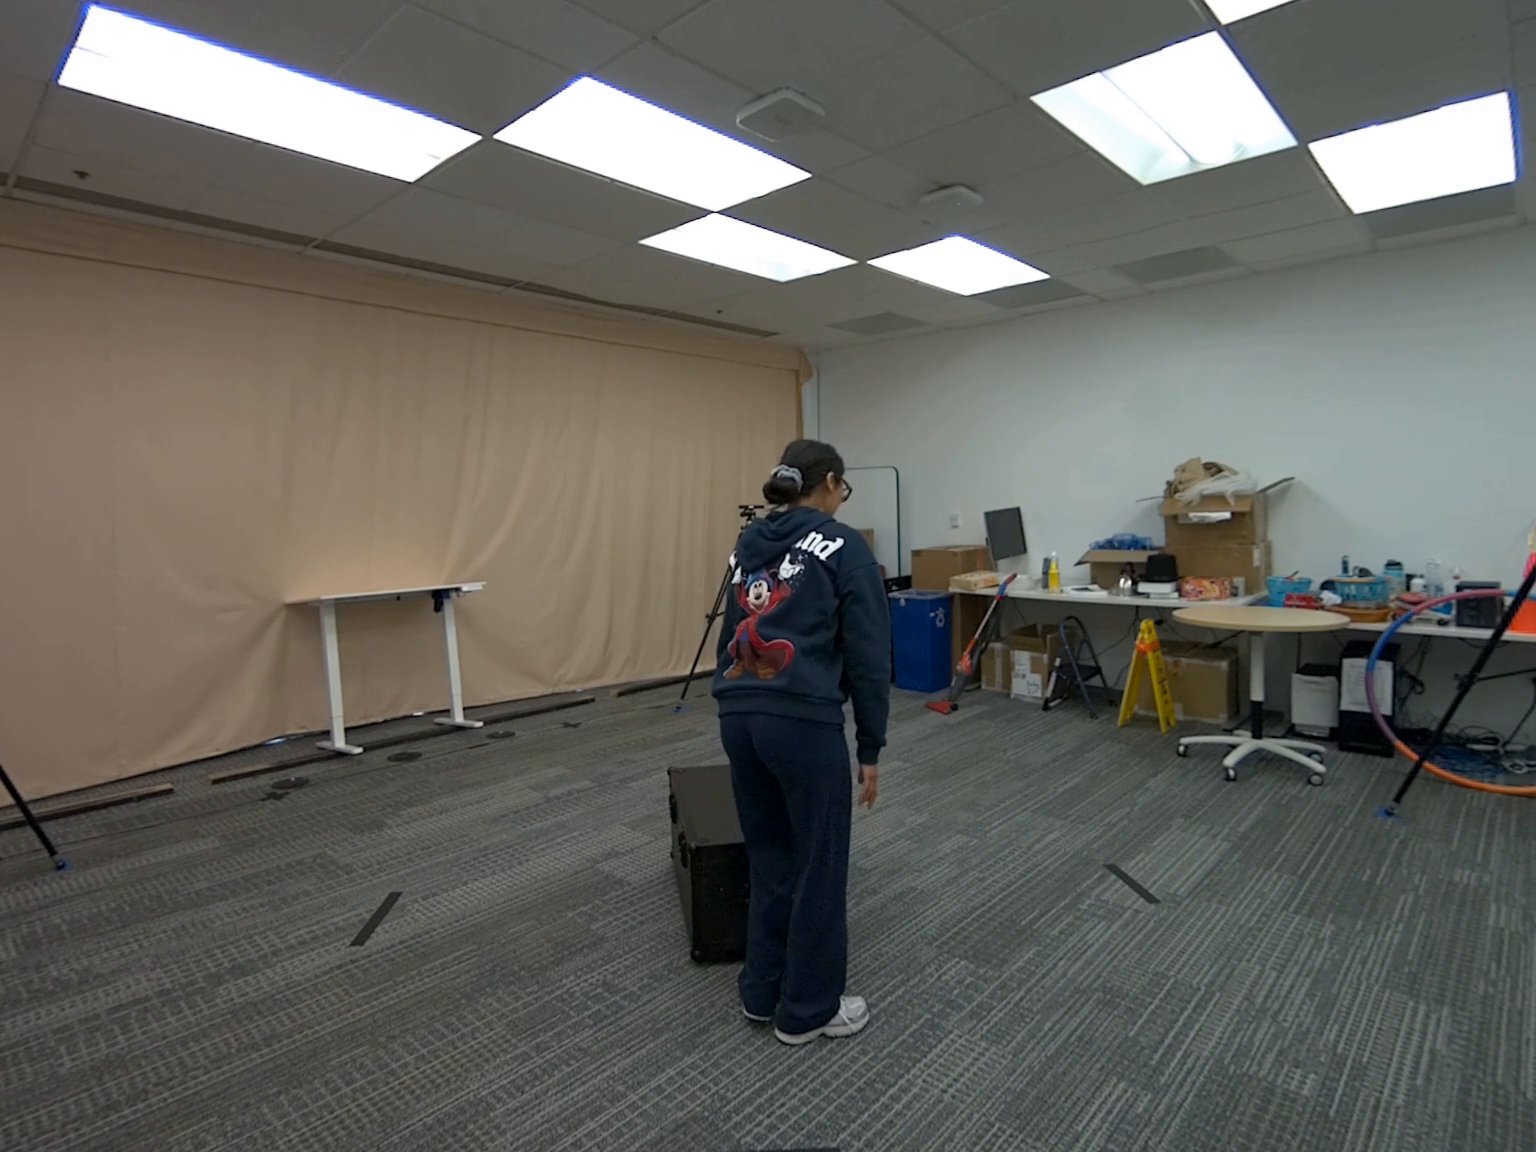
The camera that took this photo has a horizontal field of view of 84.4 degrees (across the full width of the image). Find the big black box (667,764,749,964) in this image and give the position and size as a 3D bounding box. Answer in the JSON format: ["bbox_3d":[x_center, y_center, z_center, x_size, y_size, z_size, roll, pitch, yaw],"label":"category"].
[{"bbox_3d":[-0.076,0.951,2.972,0.516,0.395,0.873,-2,5,-11],"label":"big black box"}]
